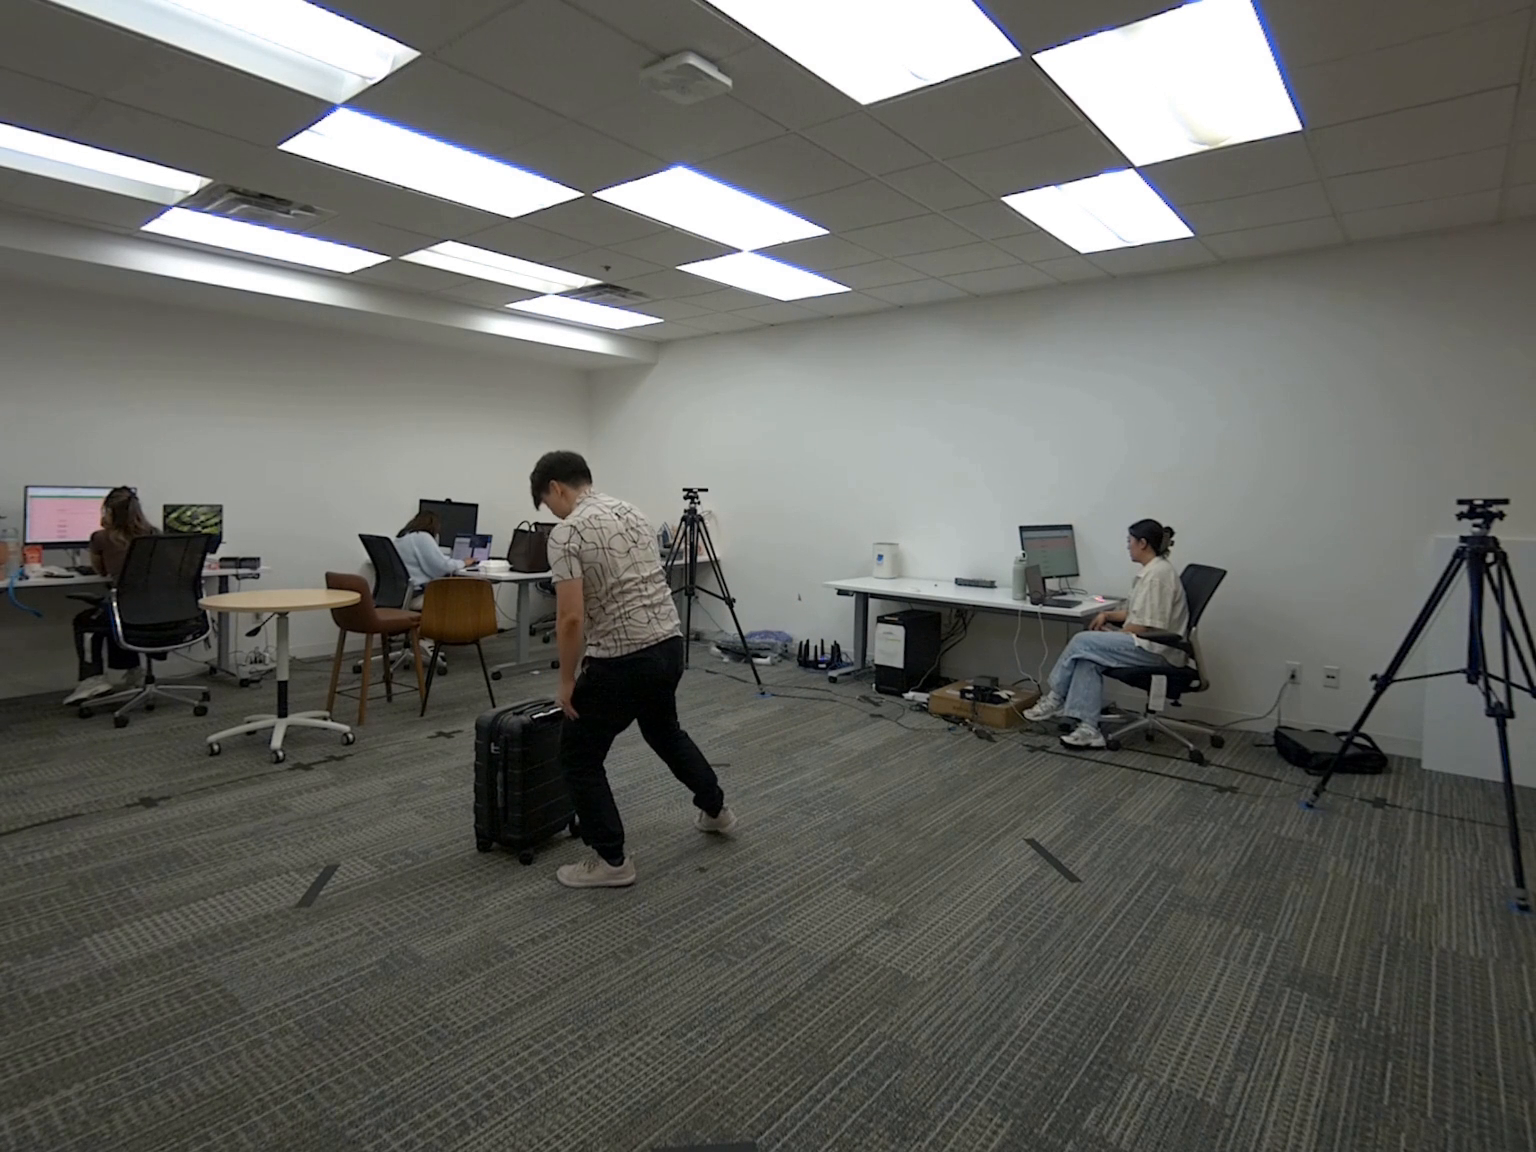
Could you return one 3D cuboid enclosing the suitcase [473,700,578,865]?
[{"bbox_3d":[-0.955,0.764,3.299,0.255,0.548,0.366,0,3,29],"label":"suitcase"}]
